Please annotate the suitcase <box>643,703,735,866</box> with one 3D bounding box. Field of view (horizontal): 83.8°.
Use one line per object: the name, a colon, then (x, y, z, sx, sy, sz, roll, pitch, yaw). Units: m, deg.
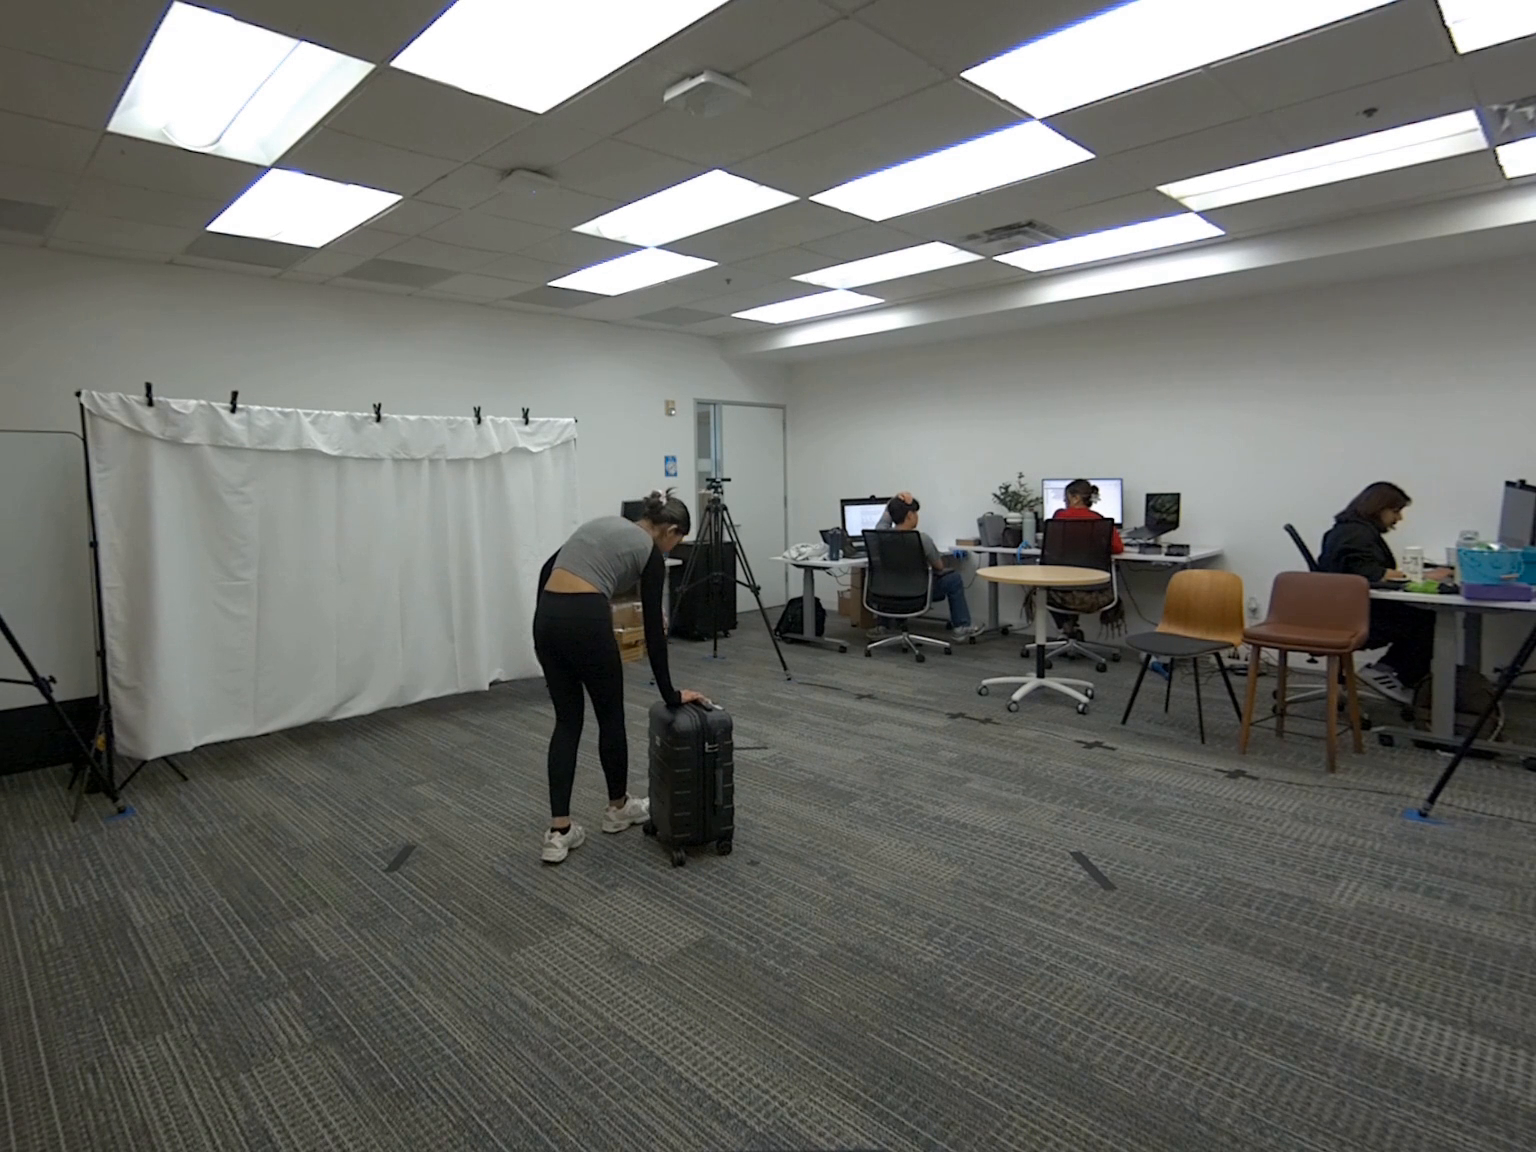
suitcase: (-0.297, 0.752, 3.267, 0.243, 0.548, 0.384, -1, 4, -24)
